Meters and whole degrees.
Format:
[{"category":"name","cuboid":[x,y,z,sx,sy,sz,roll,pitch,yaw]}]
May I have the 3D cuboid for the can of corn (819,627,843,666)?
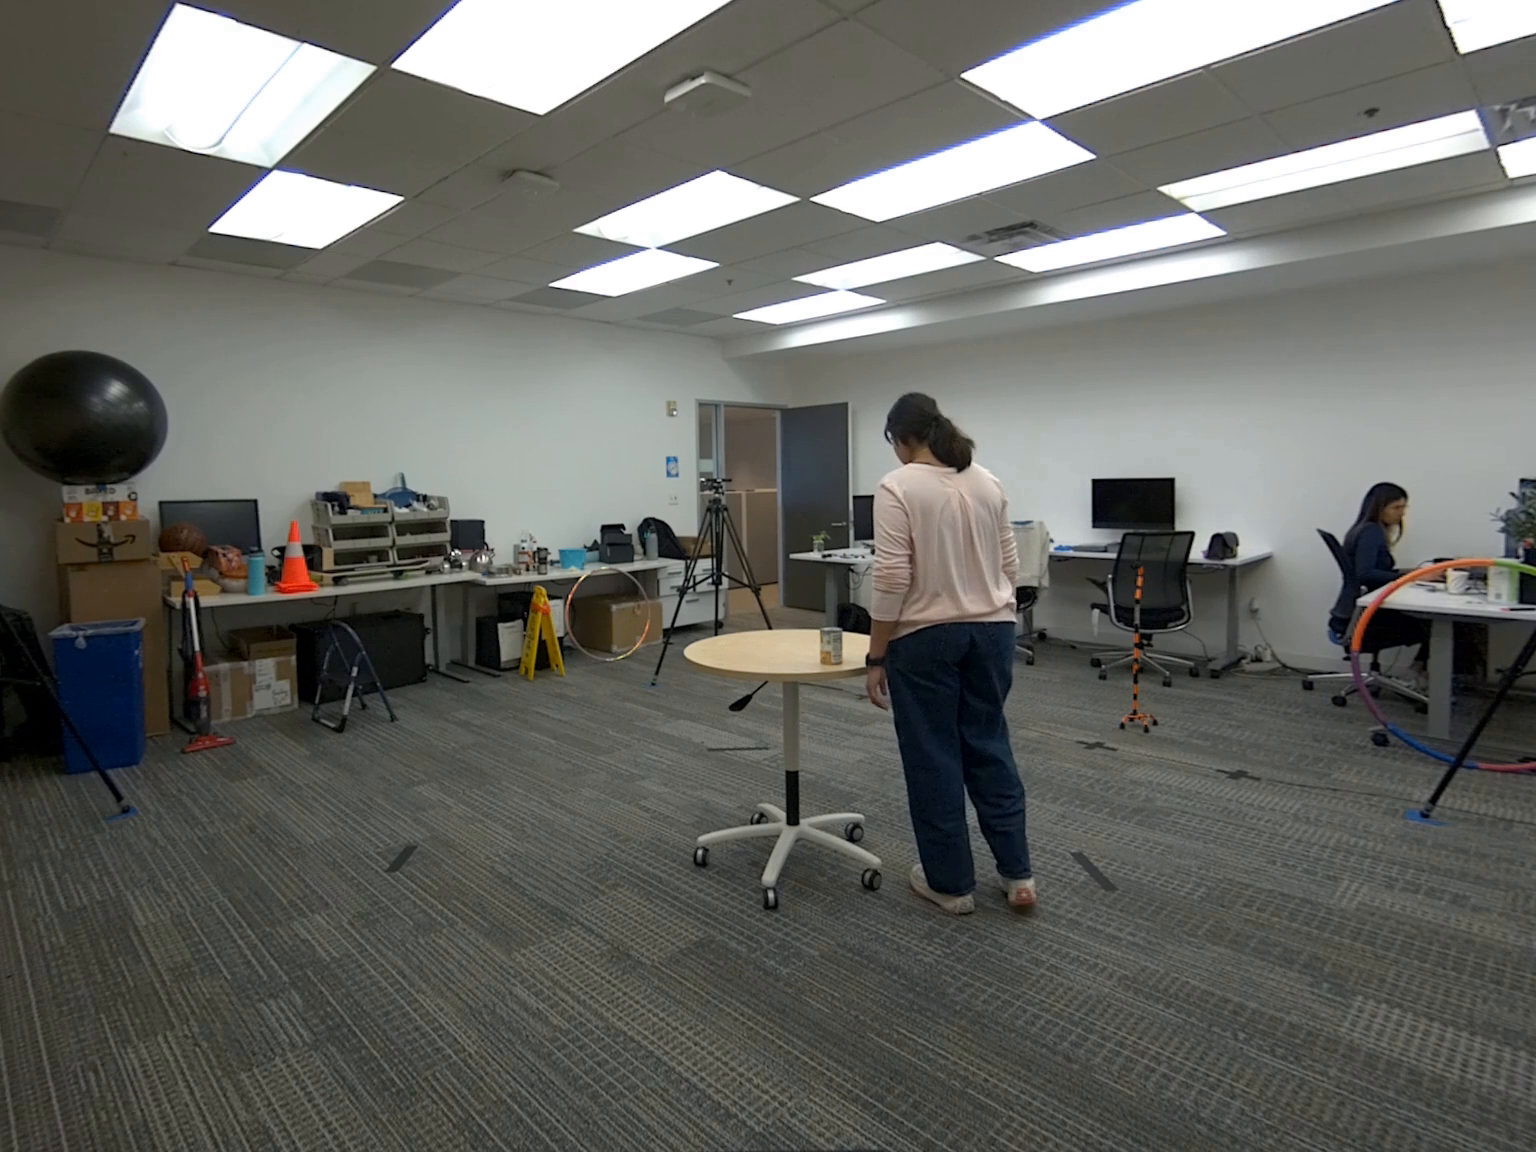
[{"category":"can of corn","cuboid":[0.214,0.229,2.832,0.074,0.110,0.075,2,7,-2]}]
